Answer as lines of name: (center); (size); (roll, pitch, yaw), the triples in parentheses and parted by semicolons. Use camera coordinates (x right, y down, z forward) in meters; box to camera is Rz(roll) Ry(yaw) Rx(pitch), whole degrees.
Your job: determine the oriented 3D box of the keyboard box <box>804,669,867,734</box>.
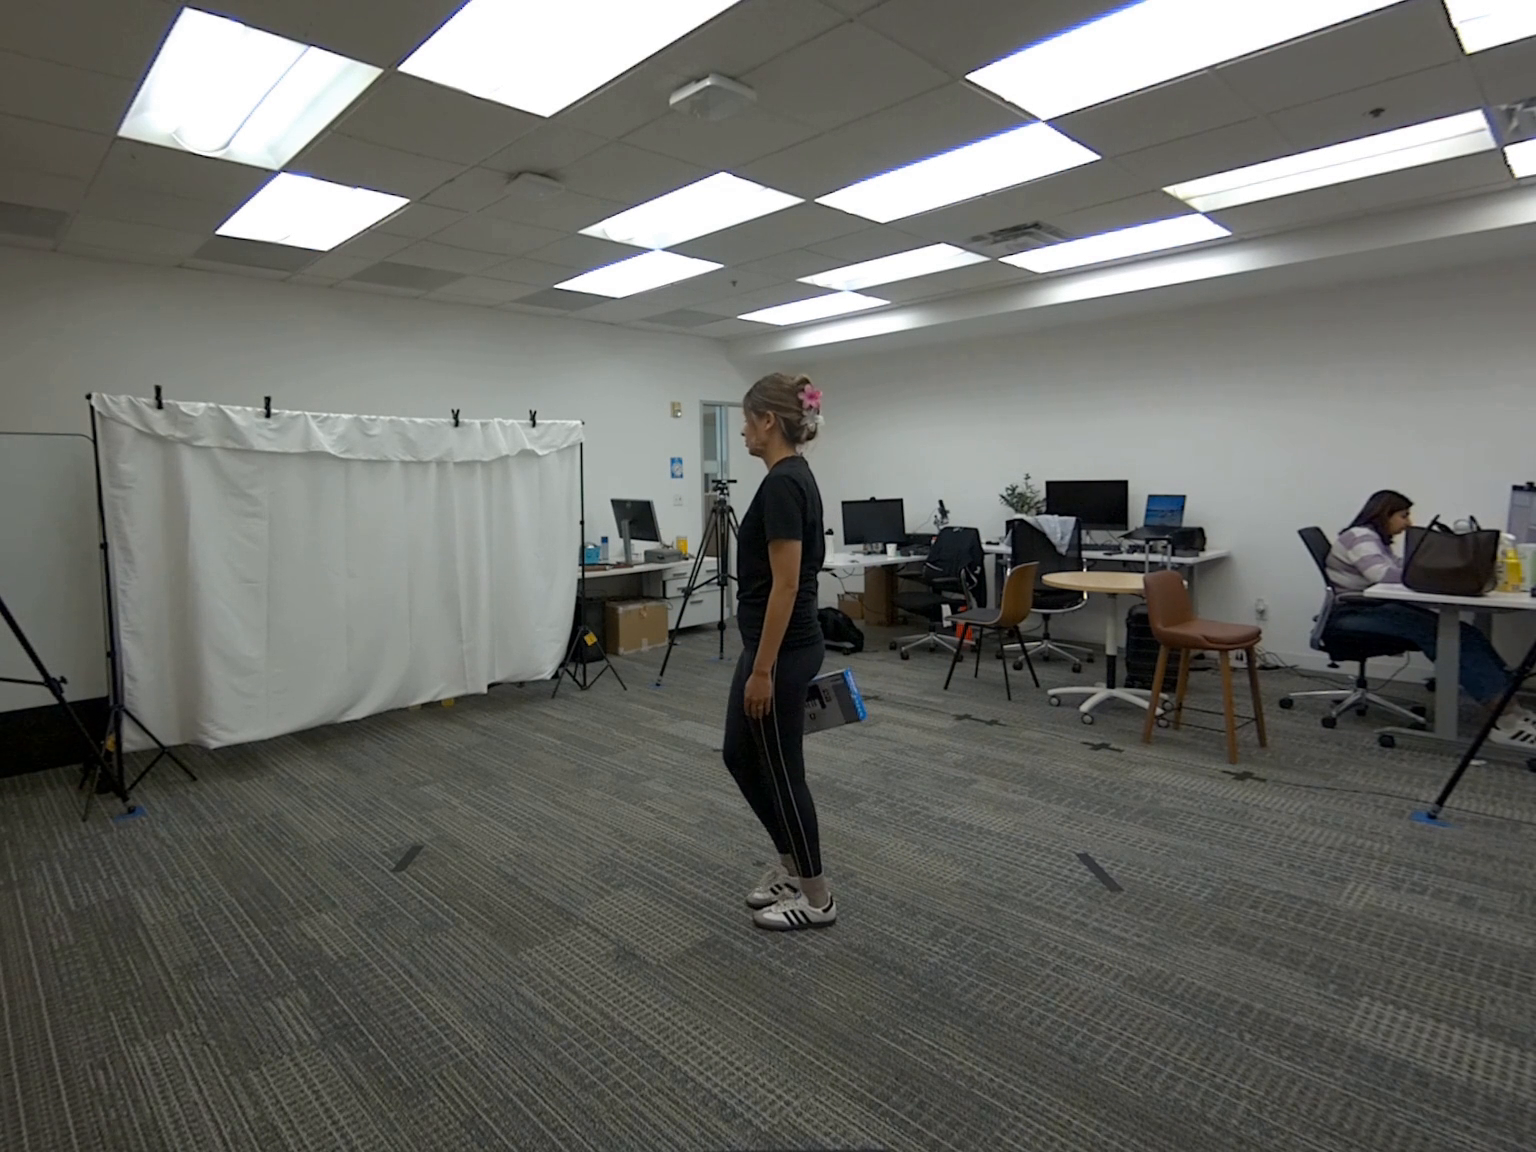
keyboard box: (0.106, 0.457, 2.931); (0.443, 0.177, 0.058); (-20, -4, 31)
